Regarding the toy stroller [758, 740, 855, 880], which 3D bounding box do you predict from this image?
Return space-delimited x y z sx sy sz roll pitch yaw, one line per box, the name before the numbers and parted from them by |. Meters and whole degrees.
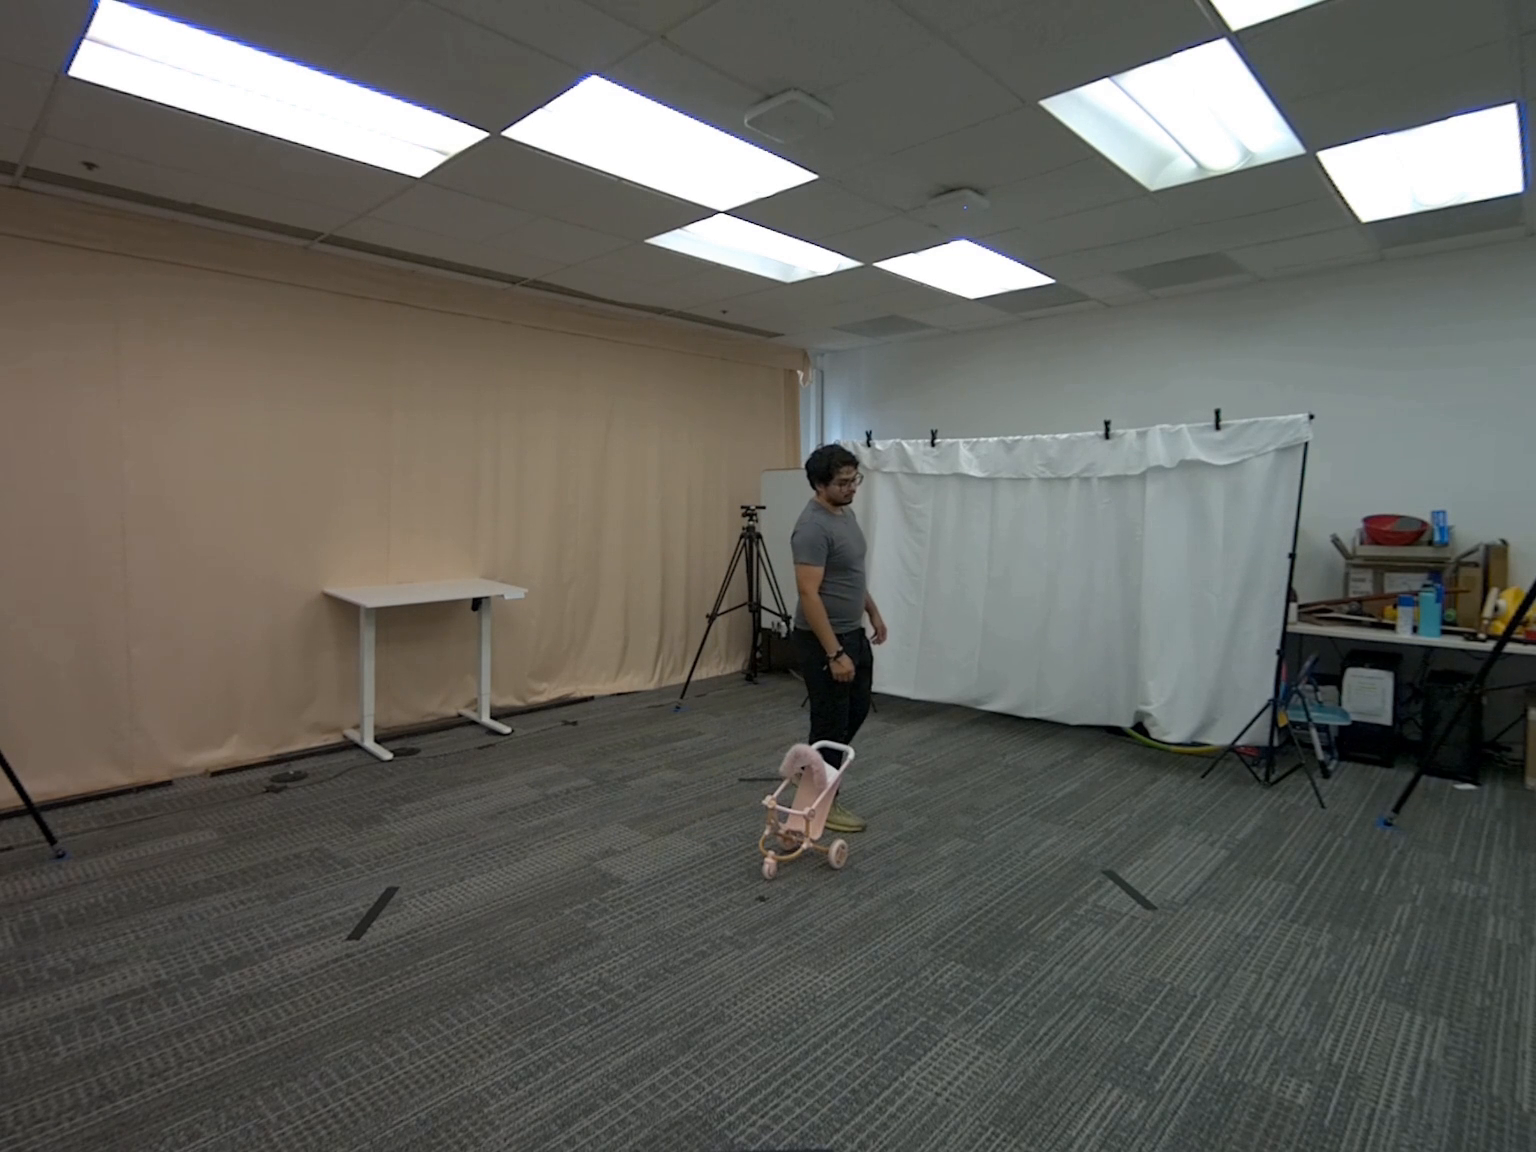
toy stroller | 0.133 0.894 3.266 0.329 0.537 0.291 19 -11 -42
